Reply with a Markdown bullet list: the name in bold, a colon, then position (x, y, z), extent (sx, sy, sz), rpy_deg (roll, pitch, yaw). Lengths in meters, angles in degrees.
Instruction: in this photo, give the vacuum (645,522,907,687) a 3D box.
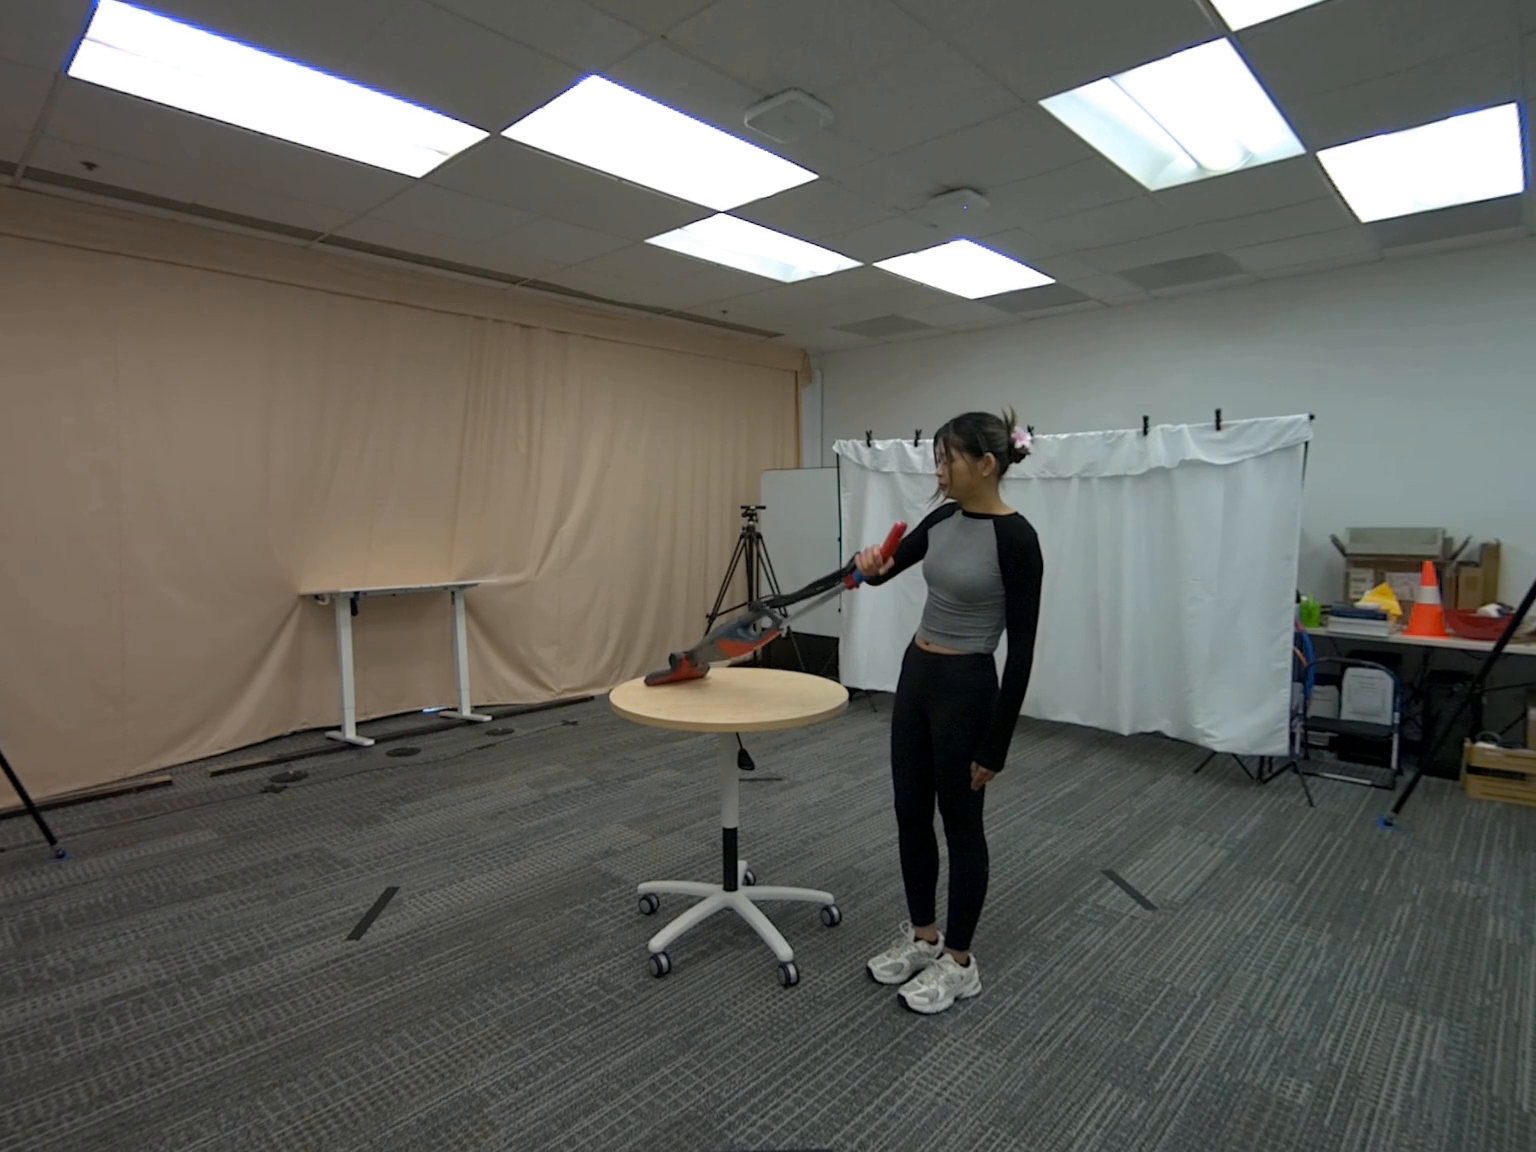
- **vacuum**: position (0.015, 0.109, 2.501), extent (0.245, 0.146, 1.065), rpy_deg (-4, -22, -43)
